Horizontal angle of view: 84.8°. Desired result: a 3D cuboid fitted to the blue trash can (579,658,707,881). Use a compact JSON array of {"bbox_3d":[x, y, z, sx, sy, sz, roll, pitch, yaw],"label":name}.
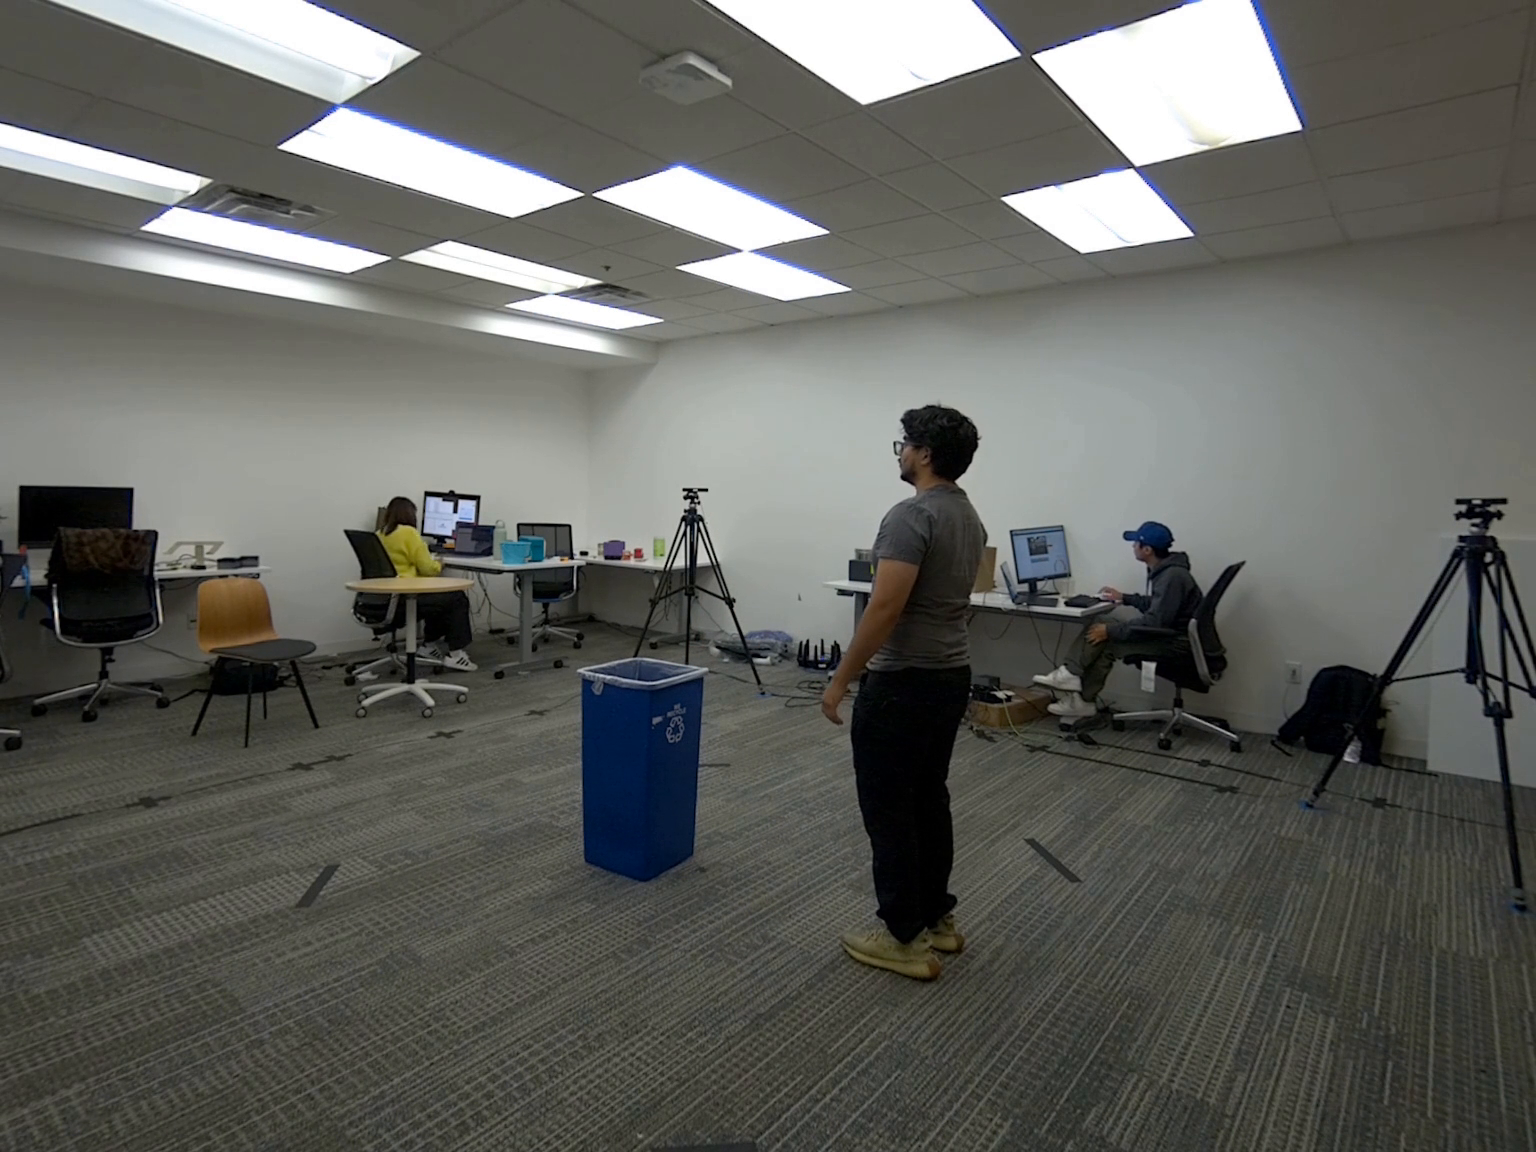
[{"bbox_3d":[-0.483,0.699,3.189,0.390,0.712,0.364,3,4,32],"label":"blue trash can"}]
